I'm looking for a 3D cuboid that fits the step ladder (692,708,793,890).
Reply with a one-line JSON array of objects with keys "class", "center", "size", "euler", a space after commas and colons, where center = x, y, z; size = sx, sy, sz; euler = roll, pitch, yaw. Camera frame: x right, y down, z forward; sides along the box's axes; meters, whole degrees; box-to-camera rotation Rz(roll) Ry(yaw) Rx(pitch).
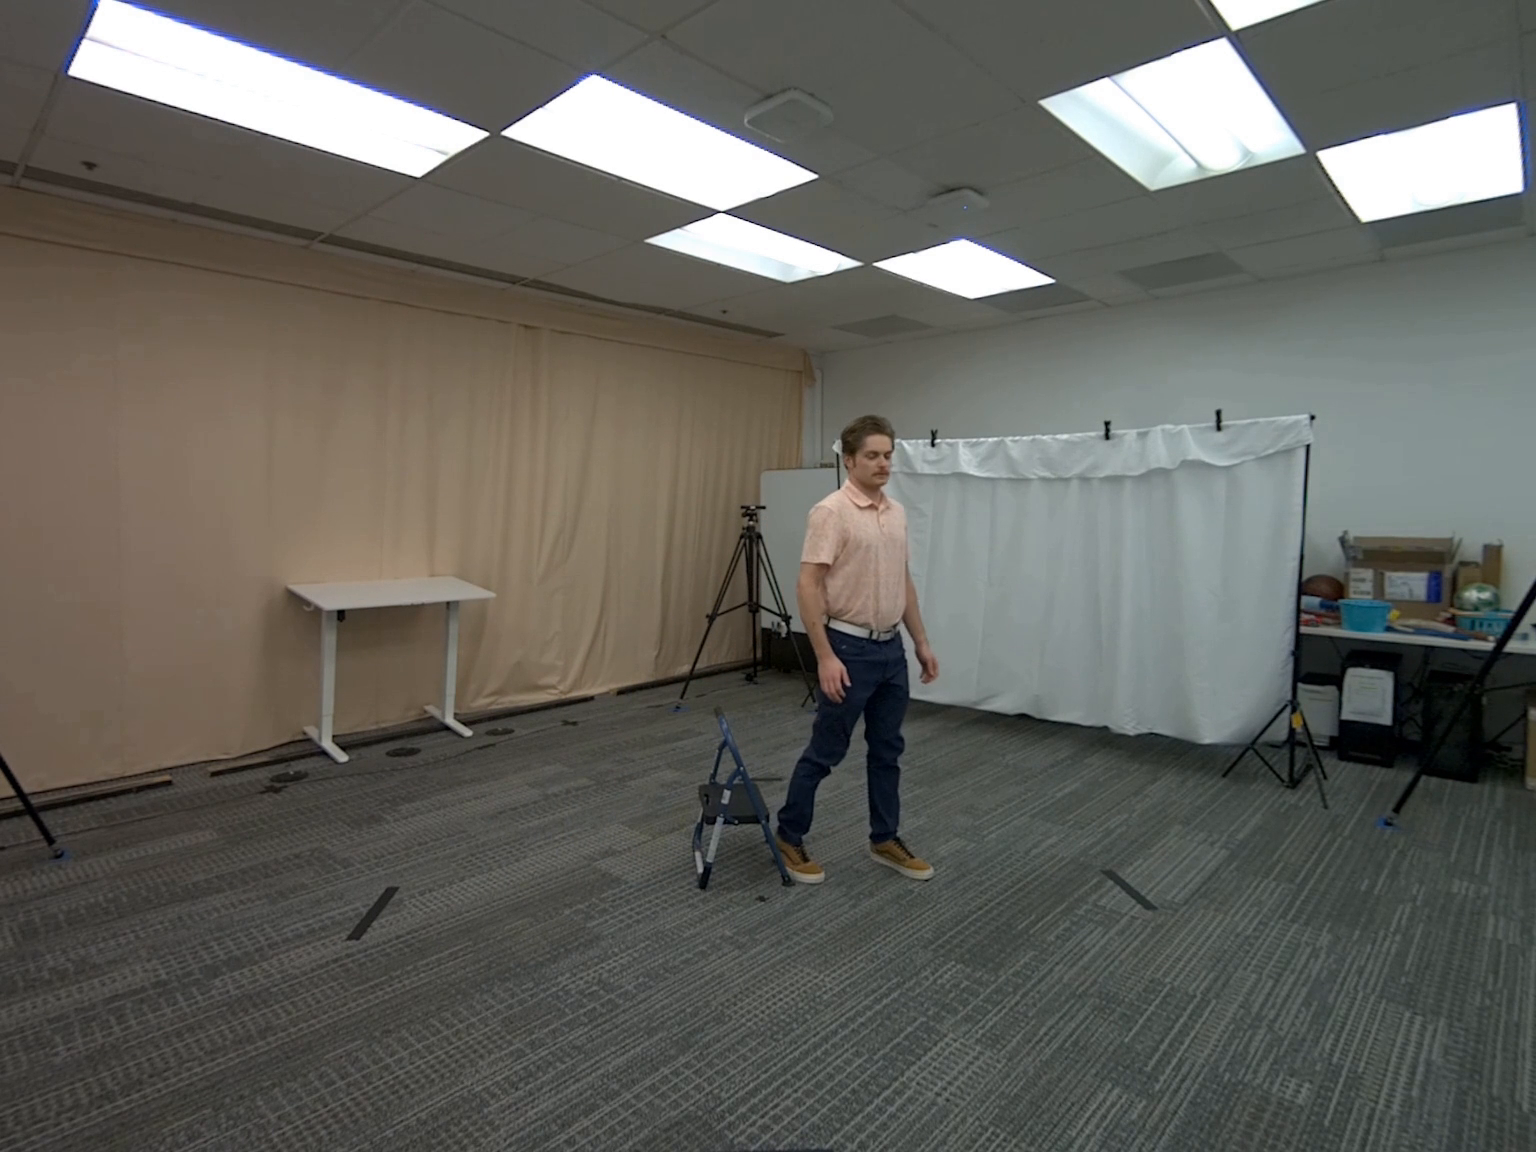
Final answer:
[{"class": "step ladder", "center": [-0.114, 0.822, 3.262], "size": [0.346, 0.605, 0.435], "euler": [-1, 3, -9]}]
